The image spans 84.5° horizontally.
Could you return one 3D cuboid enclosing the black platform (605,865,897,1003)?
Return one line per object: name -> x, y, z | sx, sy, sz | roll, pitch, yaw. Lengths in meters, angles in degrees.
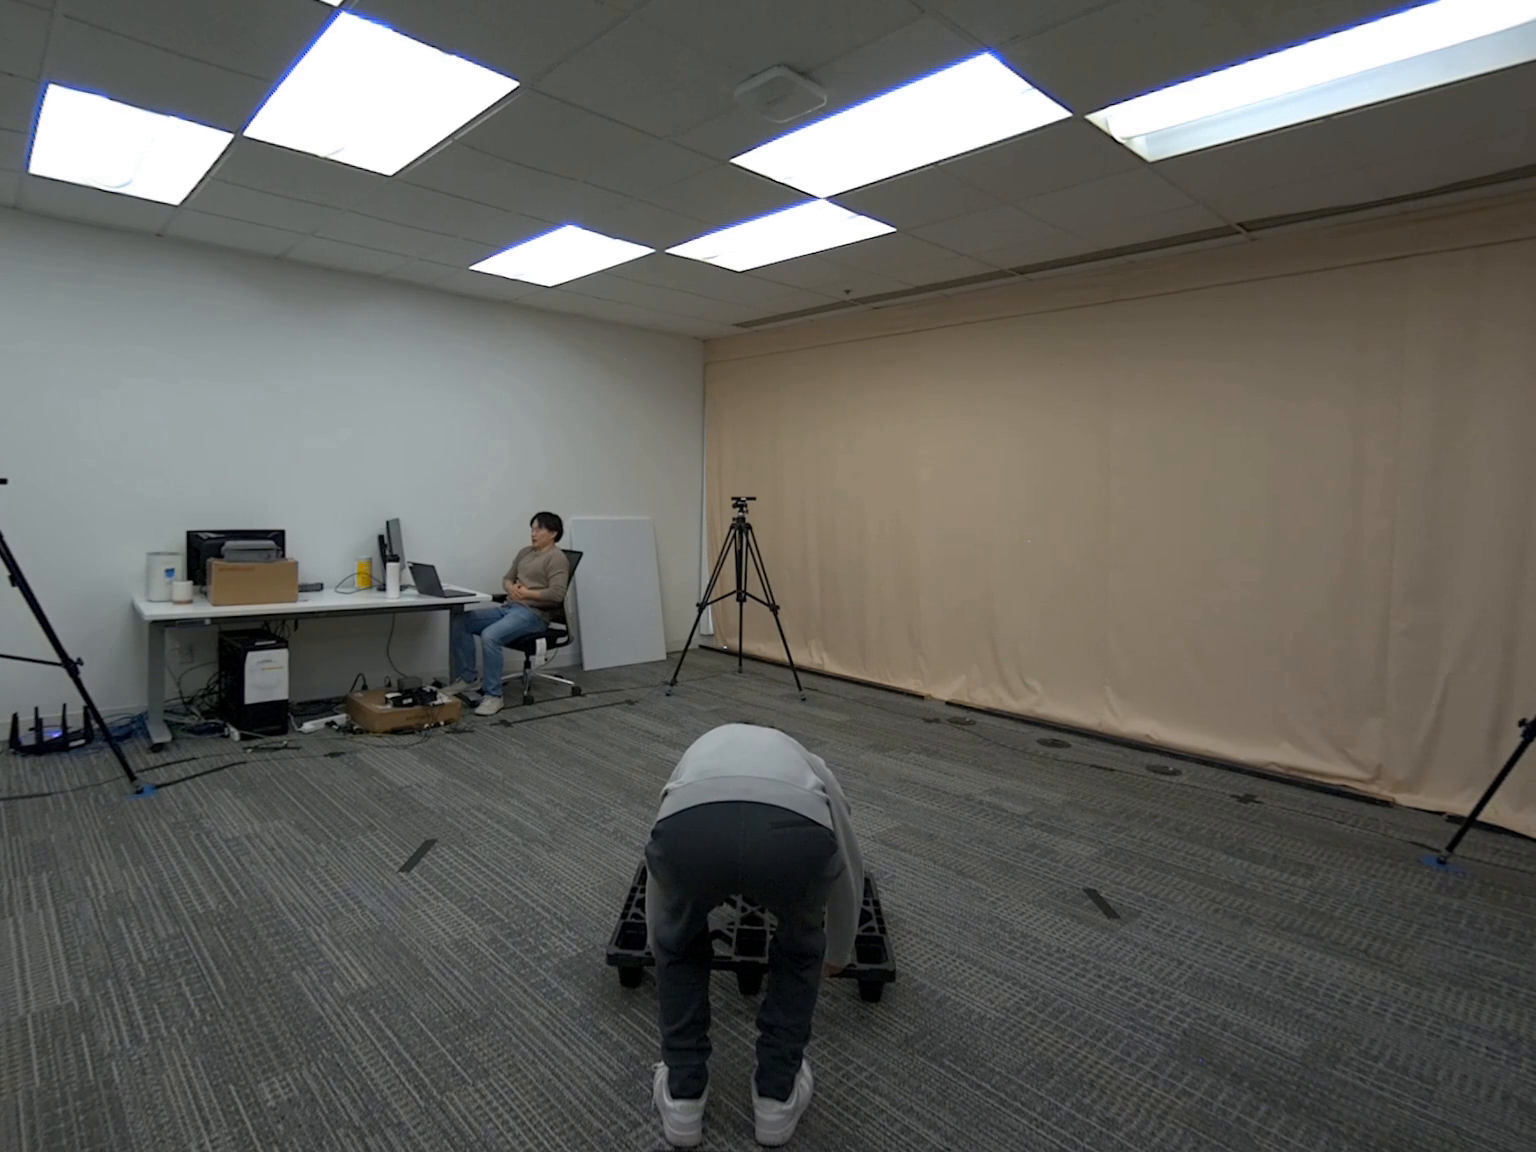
black platform -> -0.055, 1.088, 2.593 | 0.807, 0.143, 0.605 | 2, 5, 2
